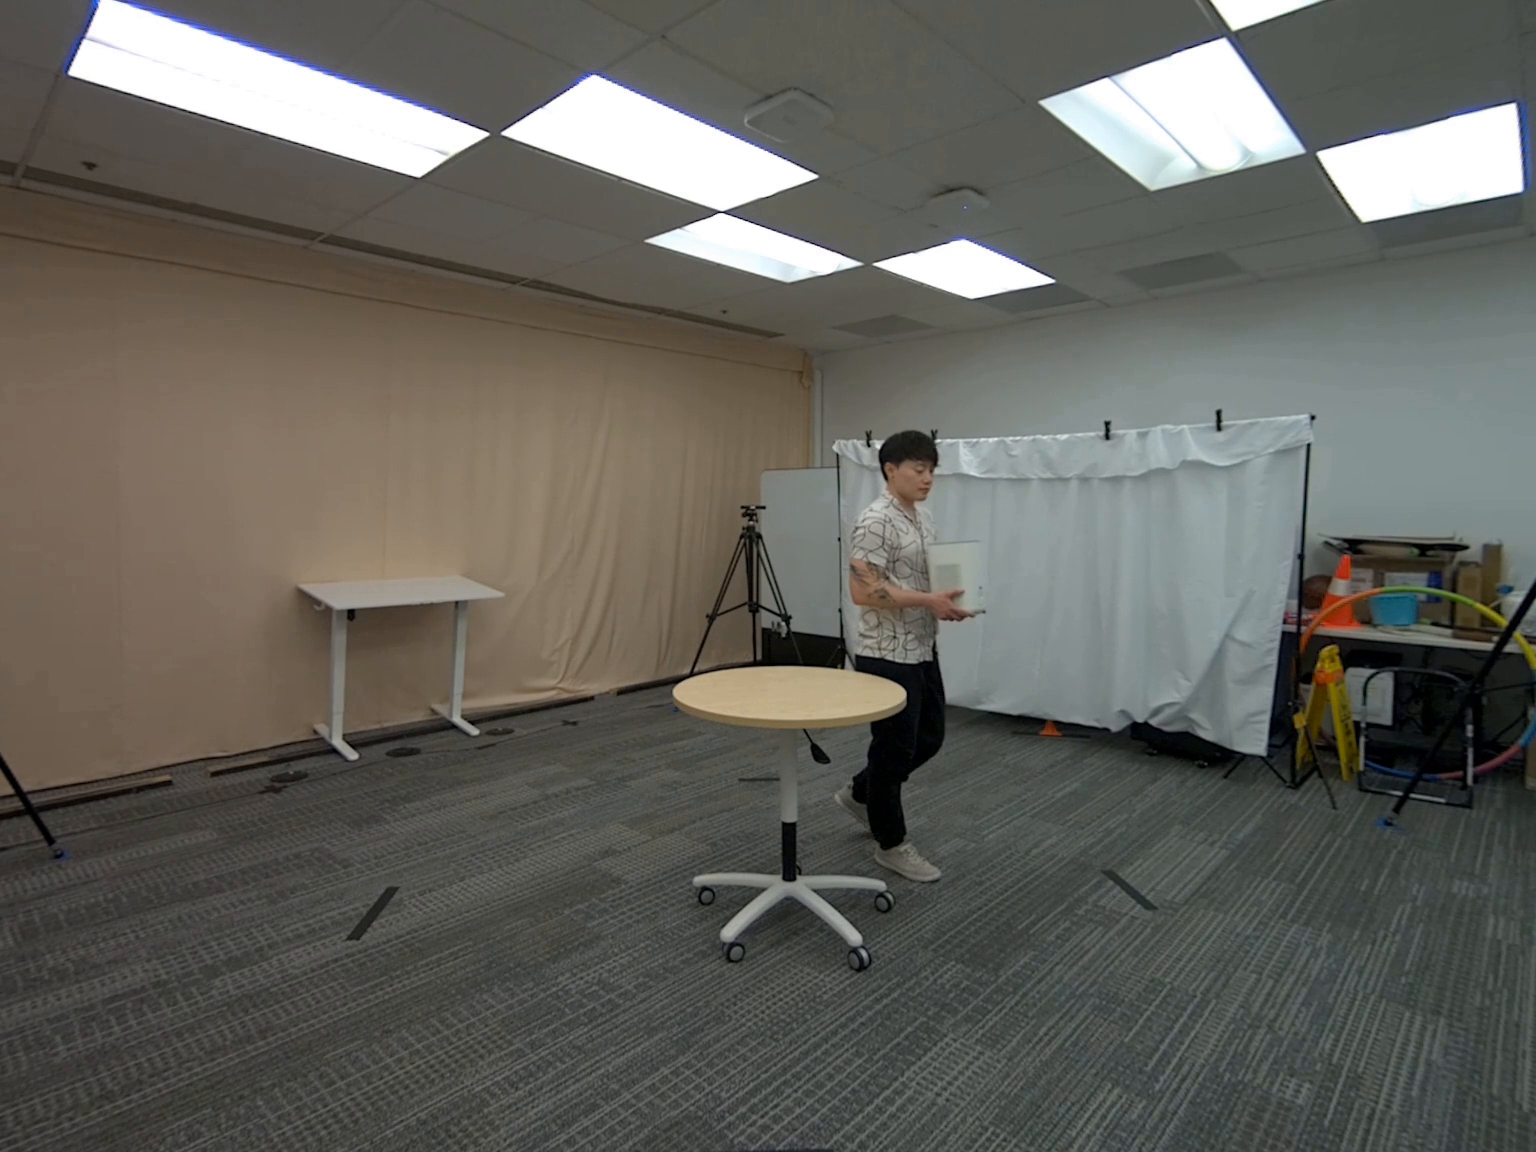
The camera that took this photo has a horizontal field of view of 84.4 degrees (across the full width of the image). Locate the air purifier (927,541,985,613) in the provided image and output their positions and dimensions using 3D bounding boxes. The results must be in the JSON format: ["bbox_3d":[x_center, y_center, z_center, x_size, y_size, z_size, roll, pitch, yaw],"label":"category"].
[{"bbox_3d":[0.682,0.011,3.045,0.176,0.265,0.166,-5,0,35],"label":"air purifier"}]
